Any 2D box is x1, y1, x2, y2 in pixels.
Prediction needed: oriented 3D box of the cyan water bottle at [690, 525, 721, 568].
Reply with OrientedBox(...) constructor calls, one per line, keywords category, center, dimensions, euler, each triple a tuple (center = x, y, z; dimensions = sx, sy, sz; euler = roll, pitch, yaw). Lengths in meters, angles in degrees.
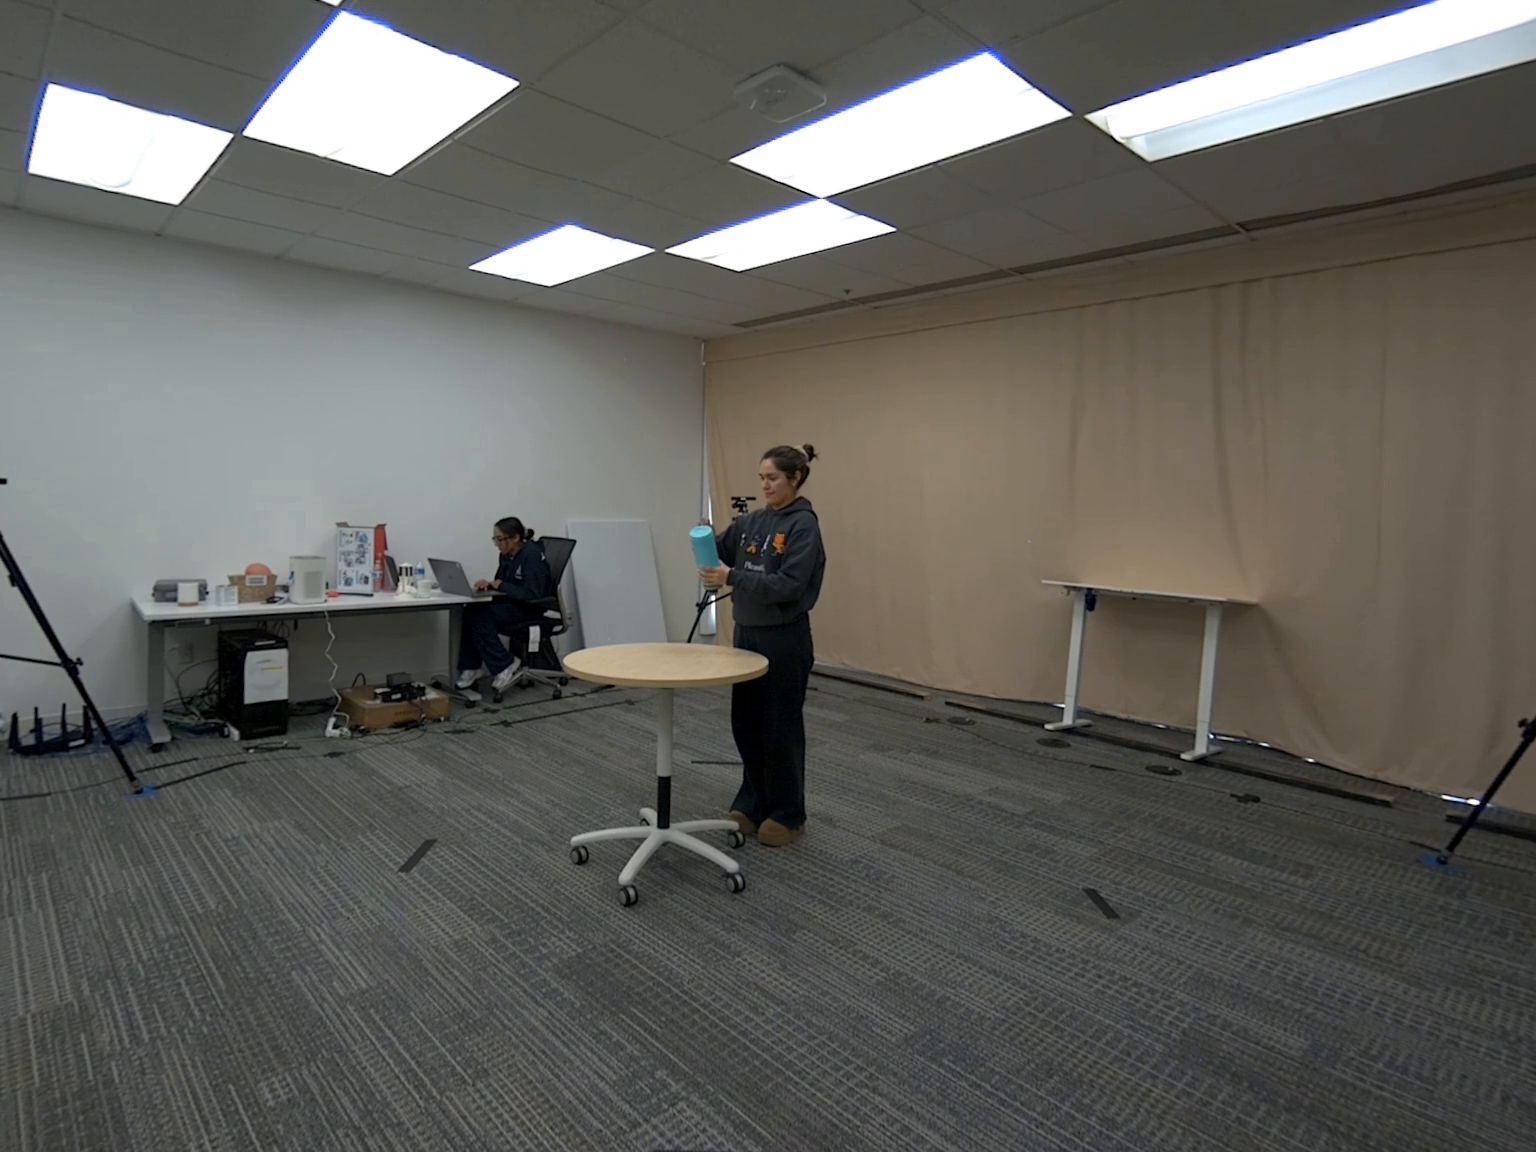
OrientedBox(category="cyan water bottle", center=(-0.240, -0.056, 3.316), dimensions=(0.092, 0.277, 0.094), euler=(-10, 31, 5))
